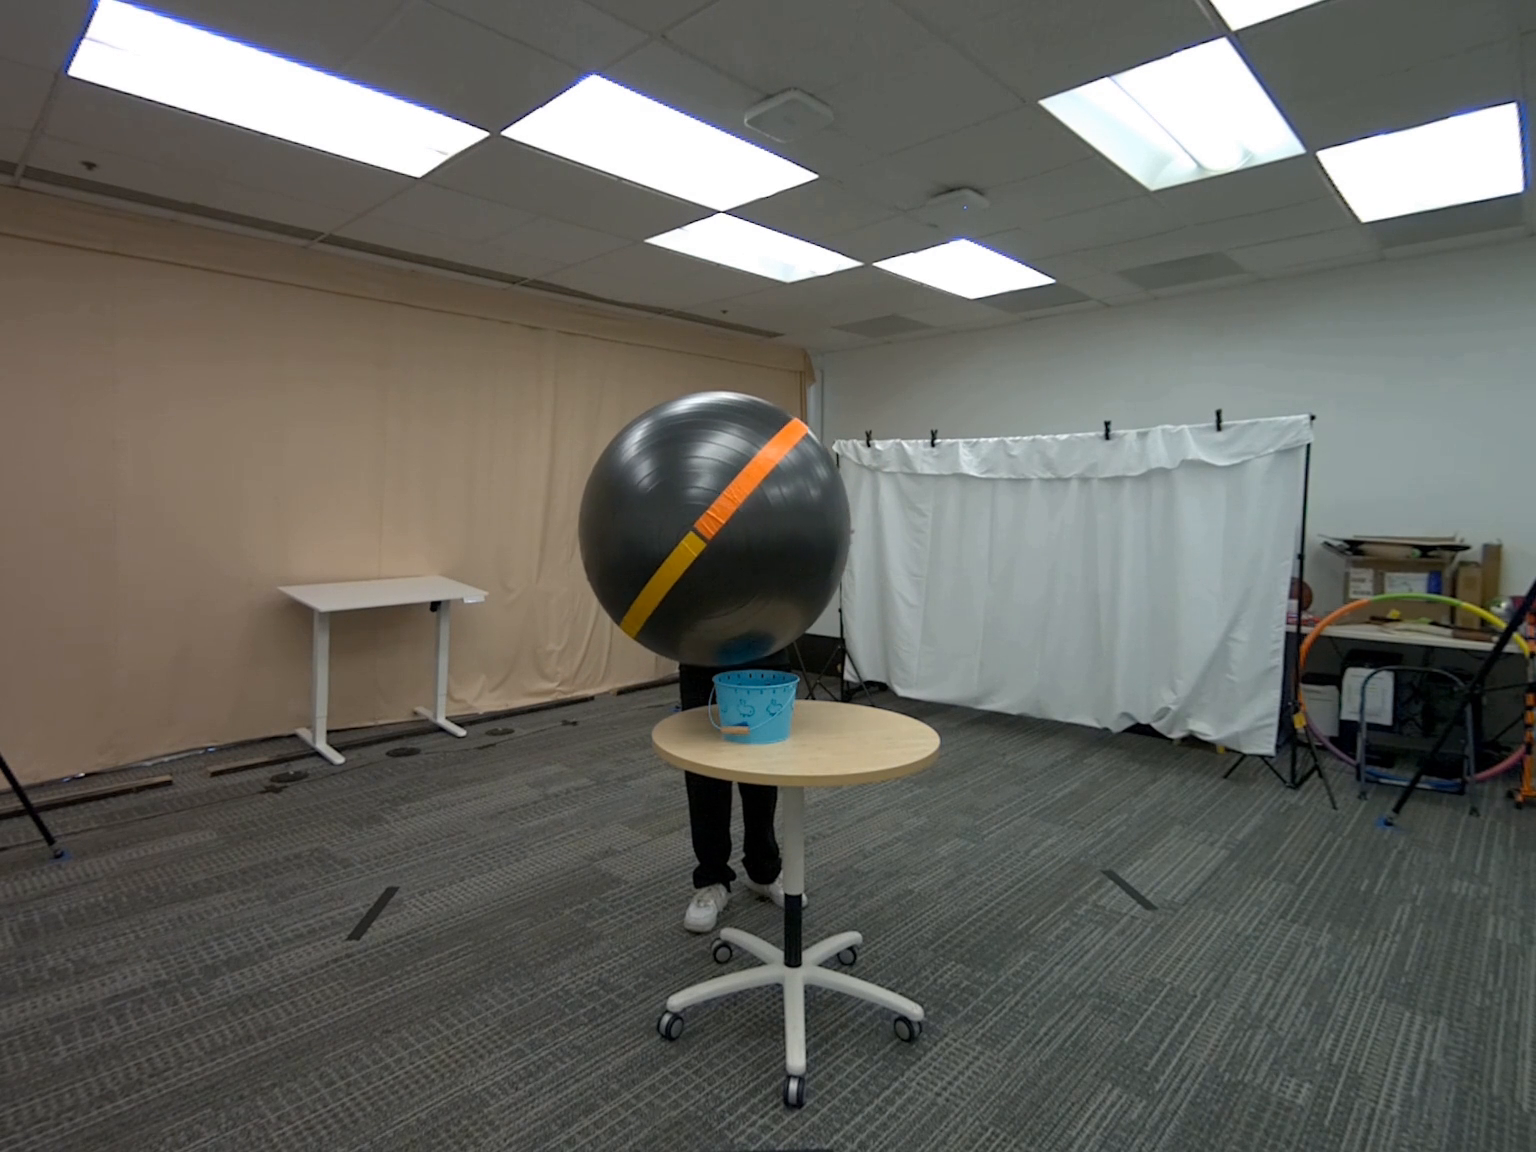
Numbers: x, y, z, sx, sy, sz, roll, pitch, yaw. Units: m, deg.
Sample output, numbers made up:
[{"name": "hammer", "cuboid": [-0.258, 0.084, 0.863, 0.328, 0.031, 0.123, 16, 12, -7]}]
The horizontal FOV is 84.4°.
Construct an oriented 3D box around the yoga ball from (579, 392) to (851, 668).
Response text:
[{"name": "yoga ball", "cuboid": [-0.150, -0.125, 2.348, 0.757, 0.756, 0.760, 0, 4, -2]}]
